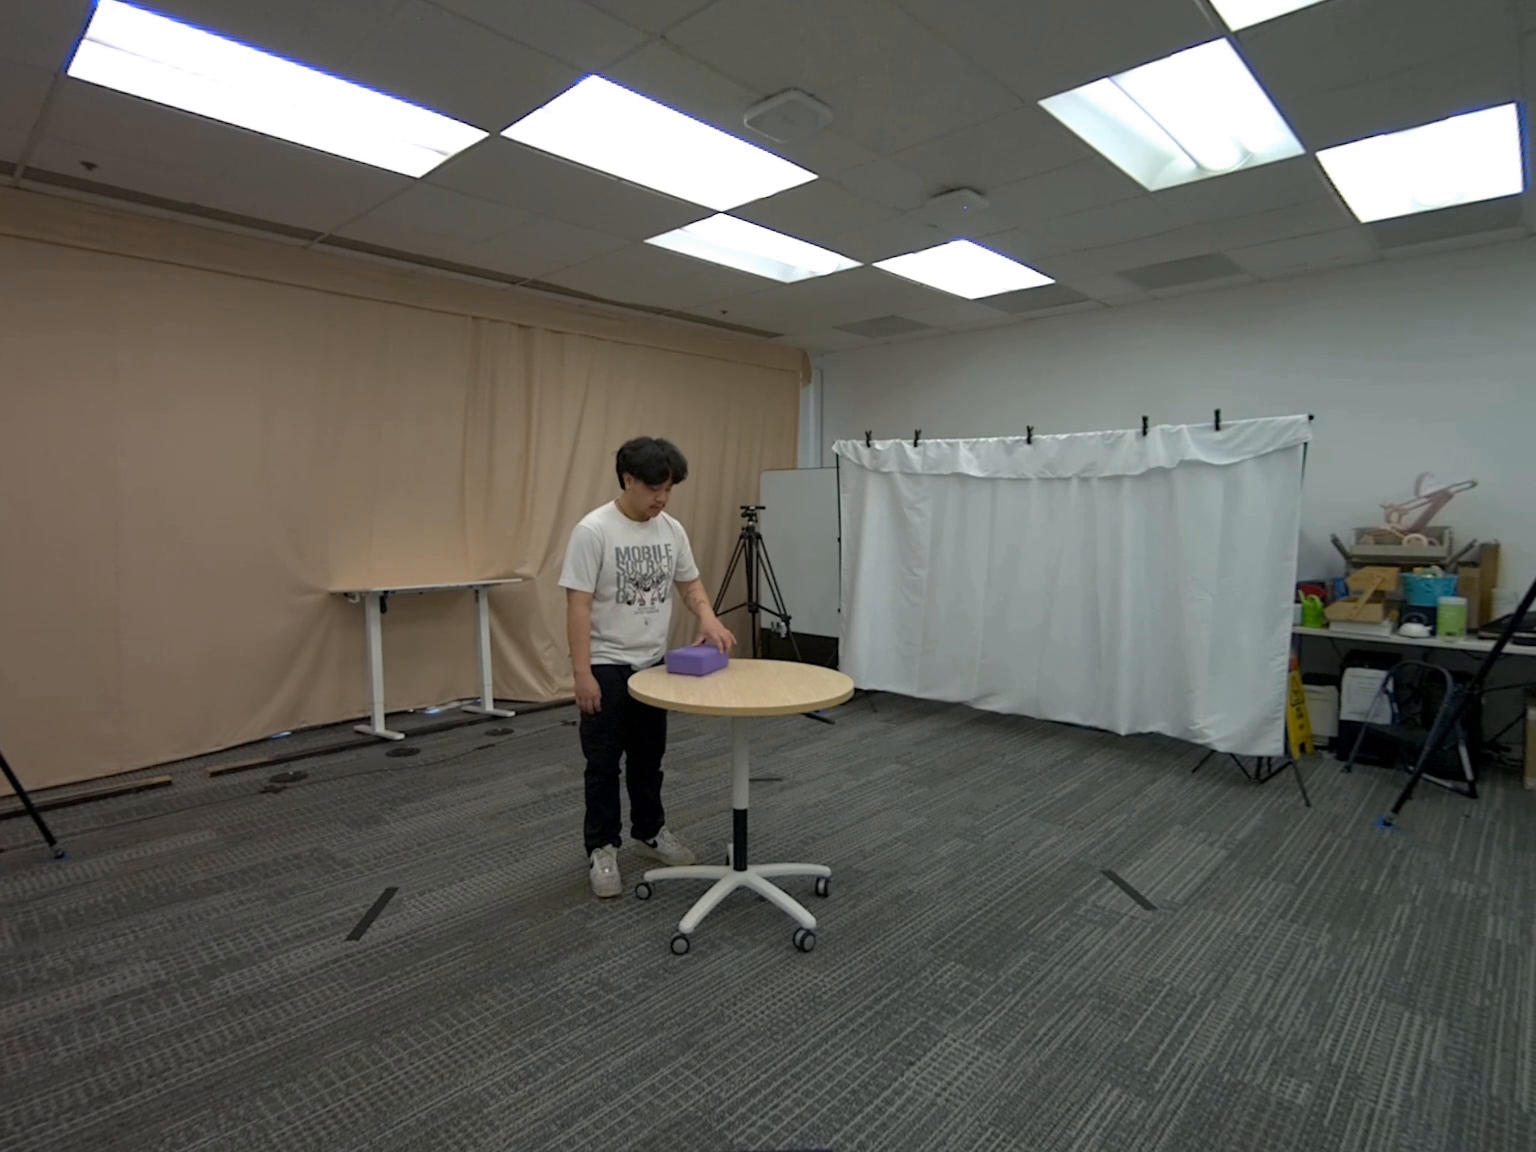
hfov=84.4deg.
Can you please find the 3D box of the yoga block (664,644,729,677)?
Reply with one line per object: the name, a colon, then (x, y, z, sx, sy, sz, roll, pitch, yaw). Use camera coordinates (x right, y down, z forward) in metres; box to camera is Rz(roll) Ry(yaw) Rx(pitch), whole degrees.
yoga block: (-0.249, 0.302, 3.039, 0.152, 0.076, 0.224, 1, 4, 22)
